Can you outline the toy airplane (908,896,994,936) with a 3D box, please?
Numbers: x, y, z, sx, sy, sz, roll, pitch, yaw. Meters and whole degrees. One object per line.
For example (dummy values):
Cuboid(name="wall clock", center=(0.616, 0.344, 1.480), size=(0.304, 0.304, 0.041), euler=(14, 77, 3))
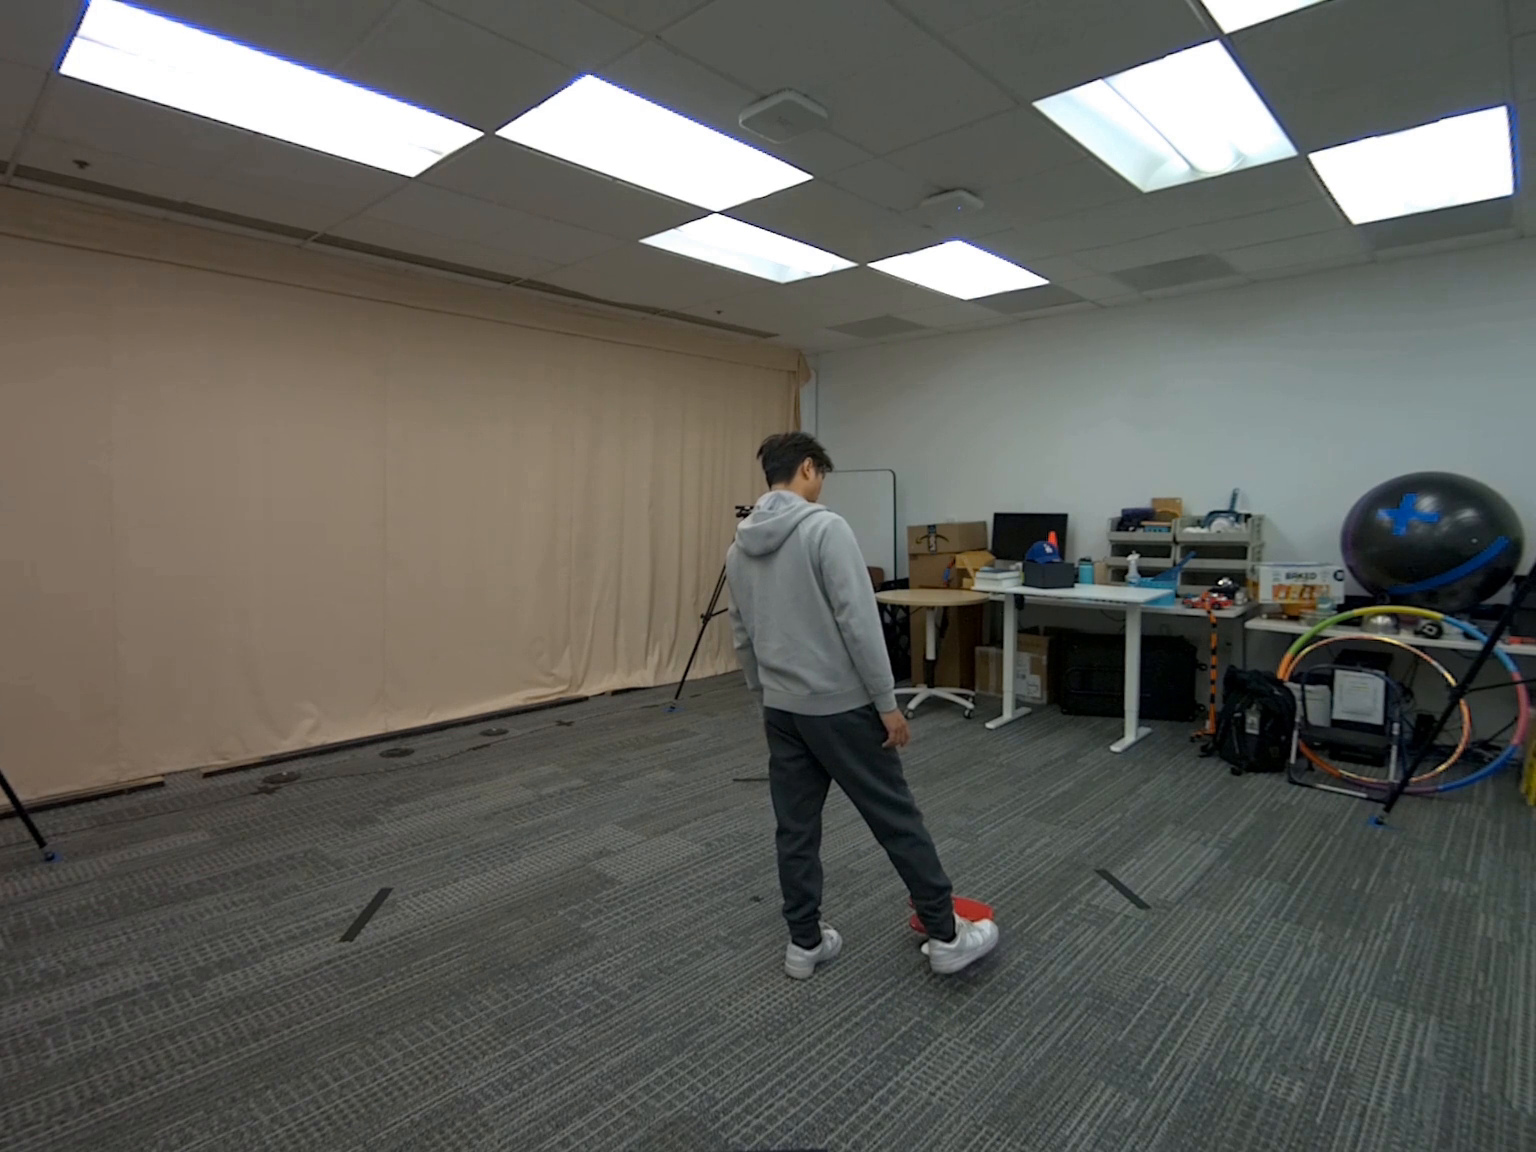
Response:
Cuboid(name="toy airplane", center=(0.585, 1.096, 2.604), size=(0.250, 0.156, 0.261), euler=(0, 3, -6))
